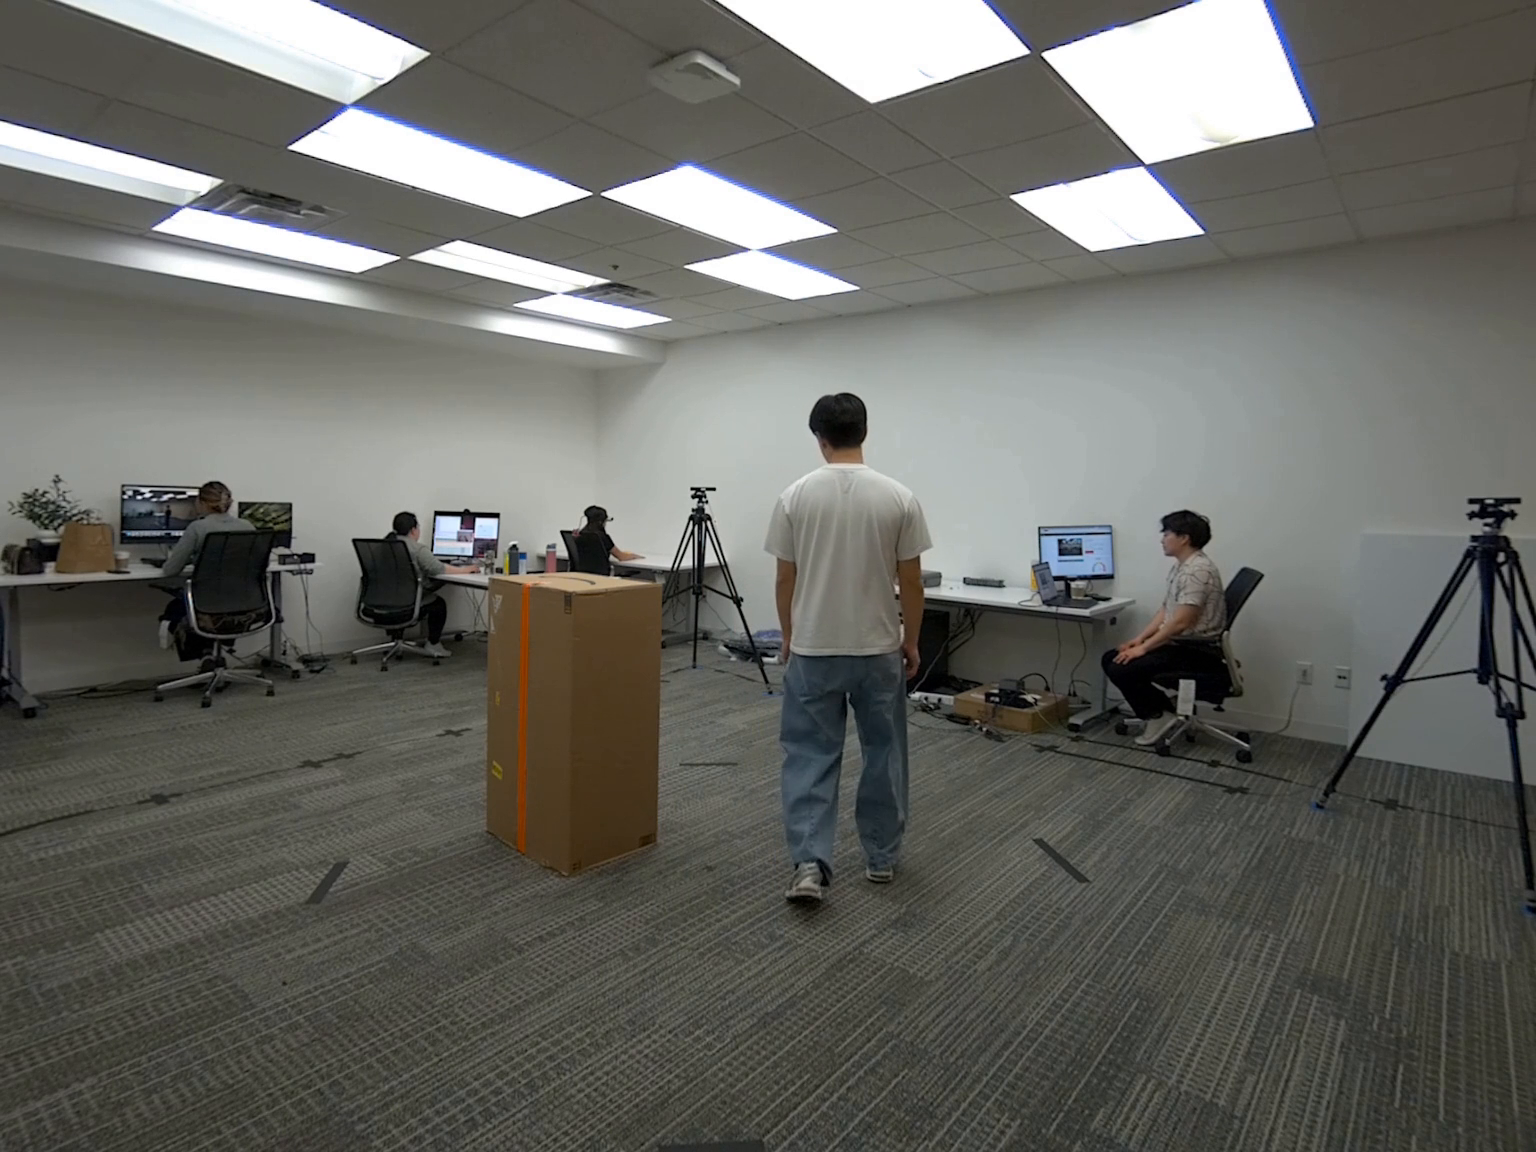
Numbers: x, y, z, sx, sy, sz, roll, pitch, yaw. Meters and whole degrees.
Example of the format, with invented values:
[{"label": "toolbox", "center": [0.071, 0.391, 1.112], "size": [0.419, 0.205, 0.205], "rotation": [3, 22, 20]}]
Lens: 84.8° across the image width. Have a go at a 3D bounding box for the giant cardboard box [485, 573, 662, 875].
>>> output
[{"label": "giant cardboard box", "center": [-0.783, 0.526, 3.333], "size": [0.597, 1.023, 0.413], "rotation": [5, 4, 44]}]
